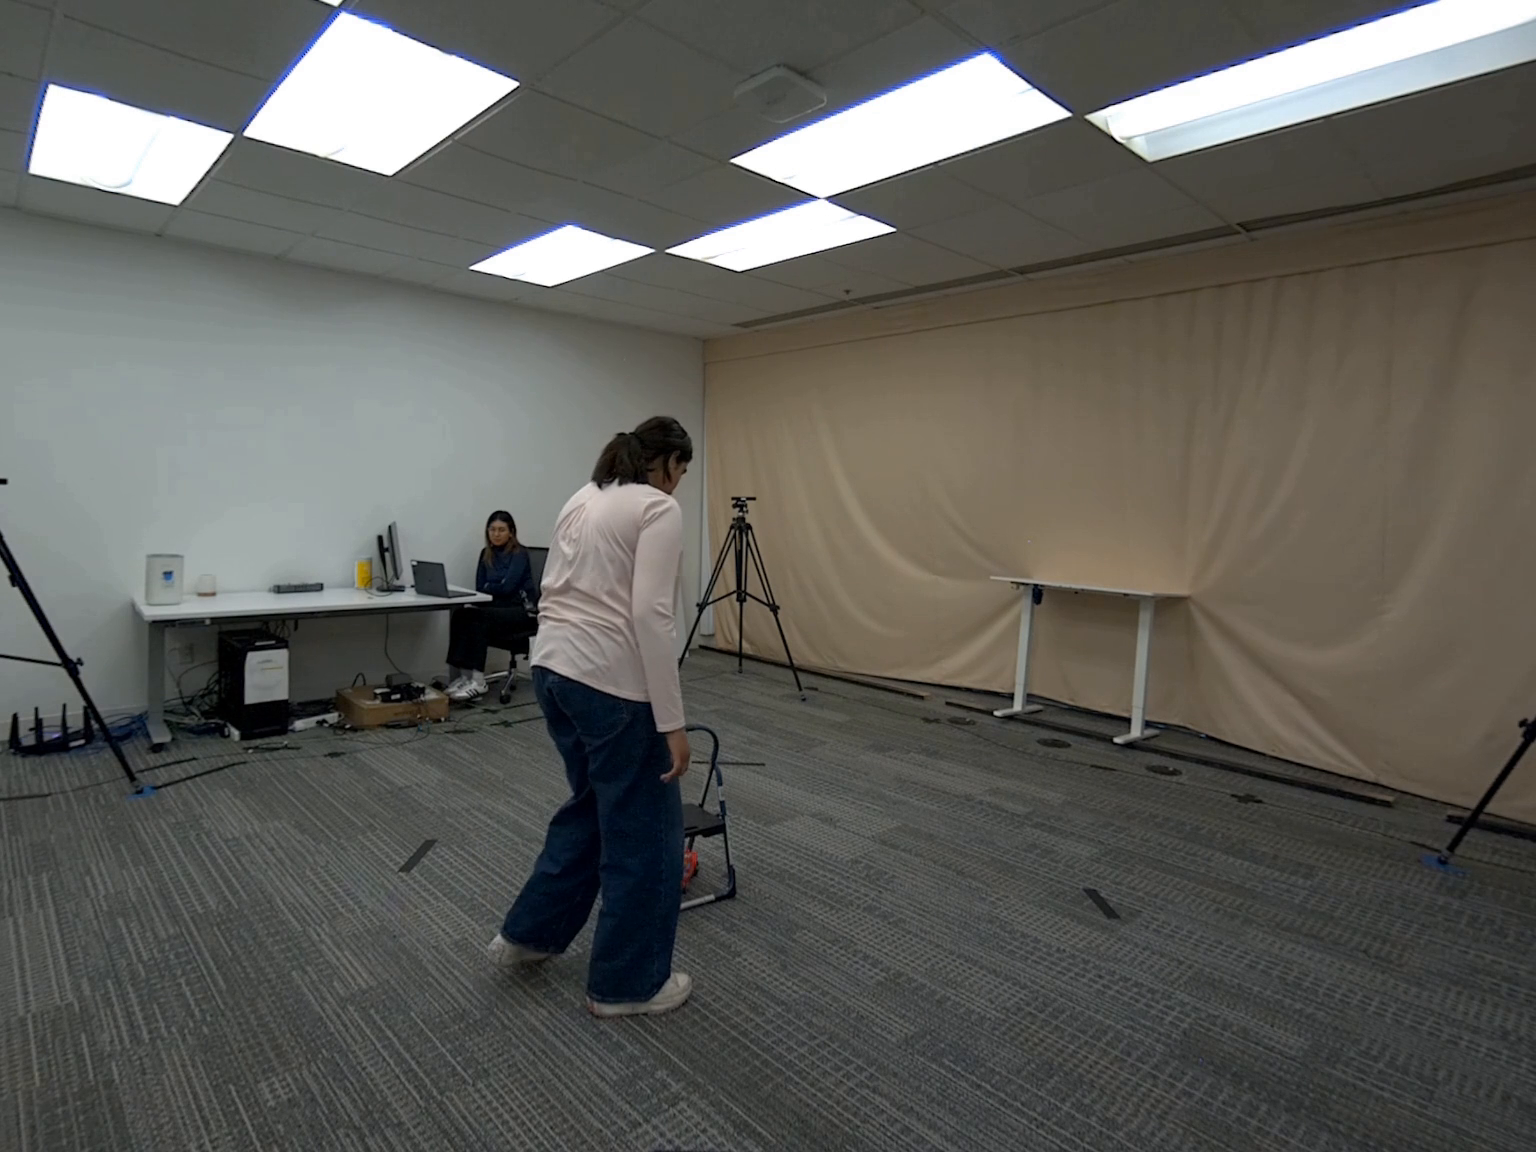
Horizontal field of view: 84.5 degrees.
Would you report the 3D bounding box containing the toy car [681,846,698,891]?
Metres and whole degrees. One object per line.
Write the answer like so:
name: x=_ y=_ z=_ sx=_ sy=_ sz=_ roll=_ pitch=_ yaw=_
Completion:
toy car: x=-0.332 y=1.079 z=3.061 sx=0.131 sy=0.082 sz=0.255 roll=3 pitch=16 yaw=9
